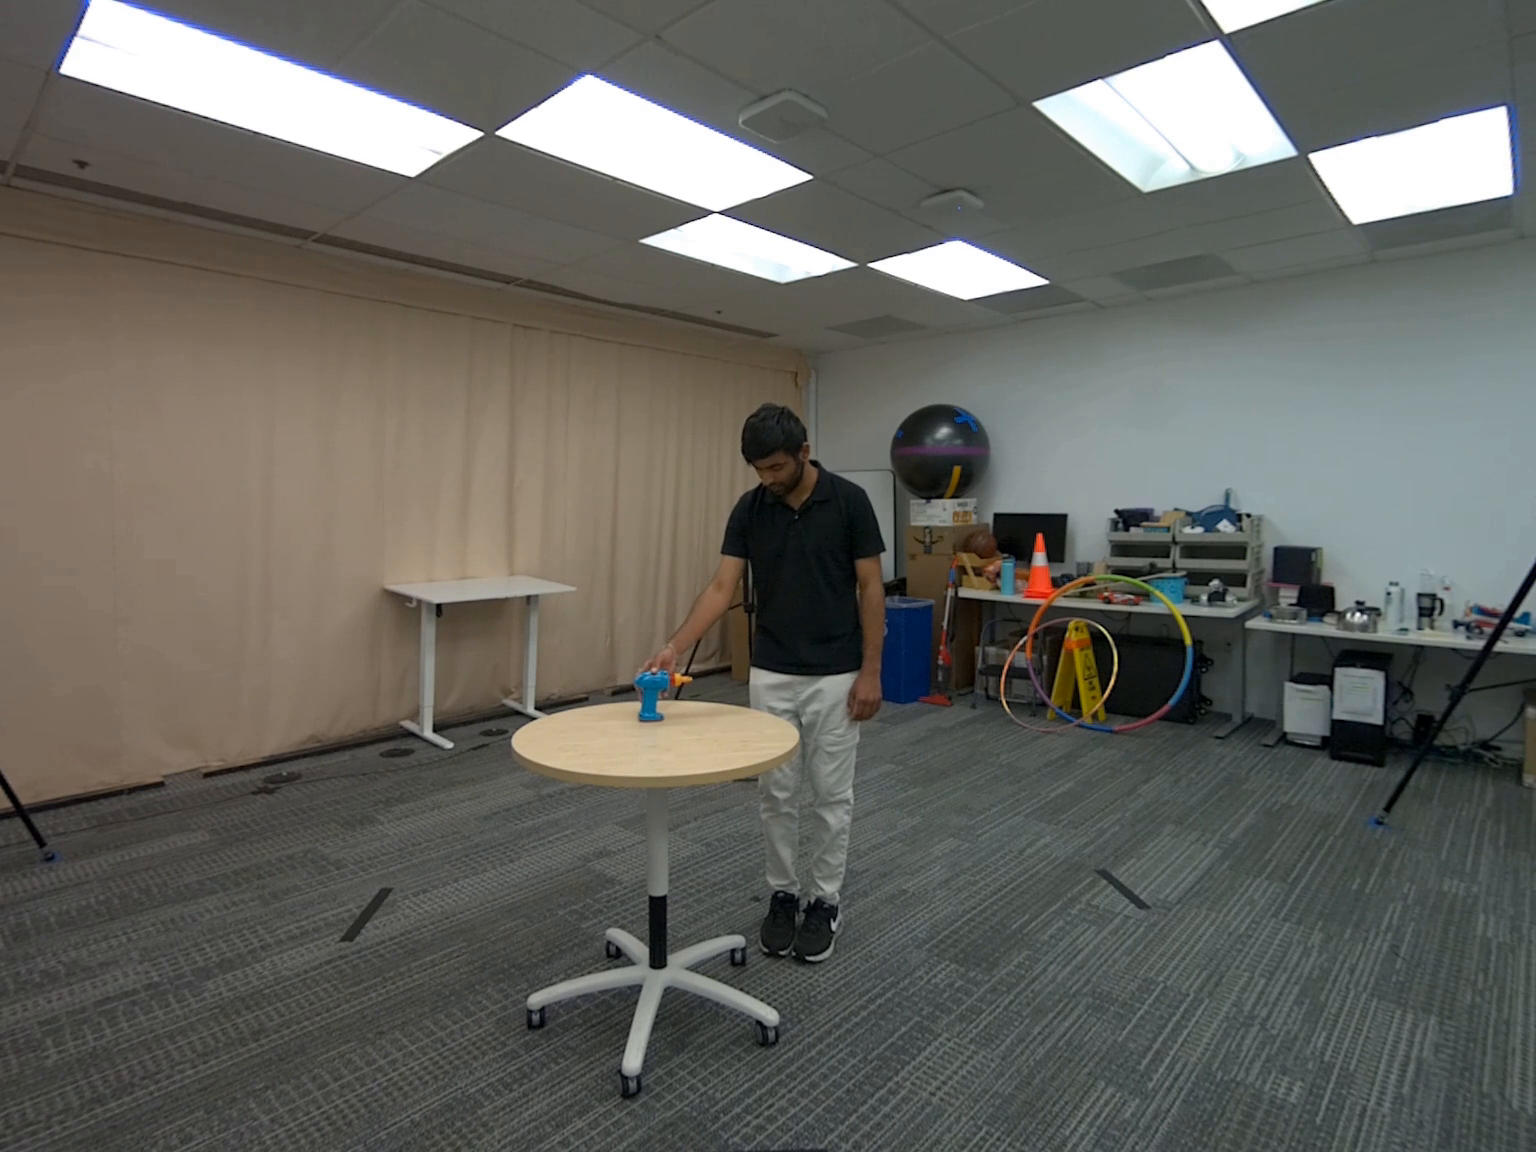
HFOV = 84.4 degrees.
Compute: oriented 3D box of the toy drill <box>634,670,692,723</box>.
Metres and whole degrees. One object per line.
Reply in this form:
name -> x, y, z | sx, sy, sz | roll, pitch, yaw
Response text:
toy drill -> -0.297, 0.340, 2.410 | 0.167, 0.146, 0.062 | 1, 2, -14
